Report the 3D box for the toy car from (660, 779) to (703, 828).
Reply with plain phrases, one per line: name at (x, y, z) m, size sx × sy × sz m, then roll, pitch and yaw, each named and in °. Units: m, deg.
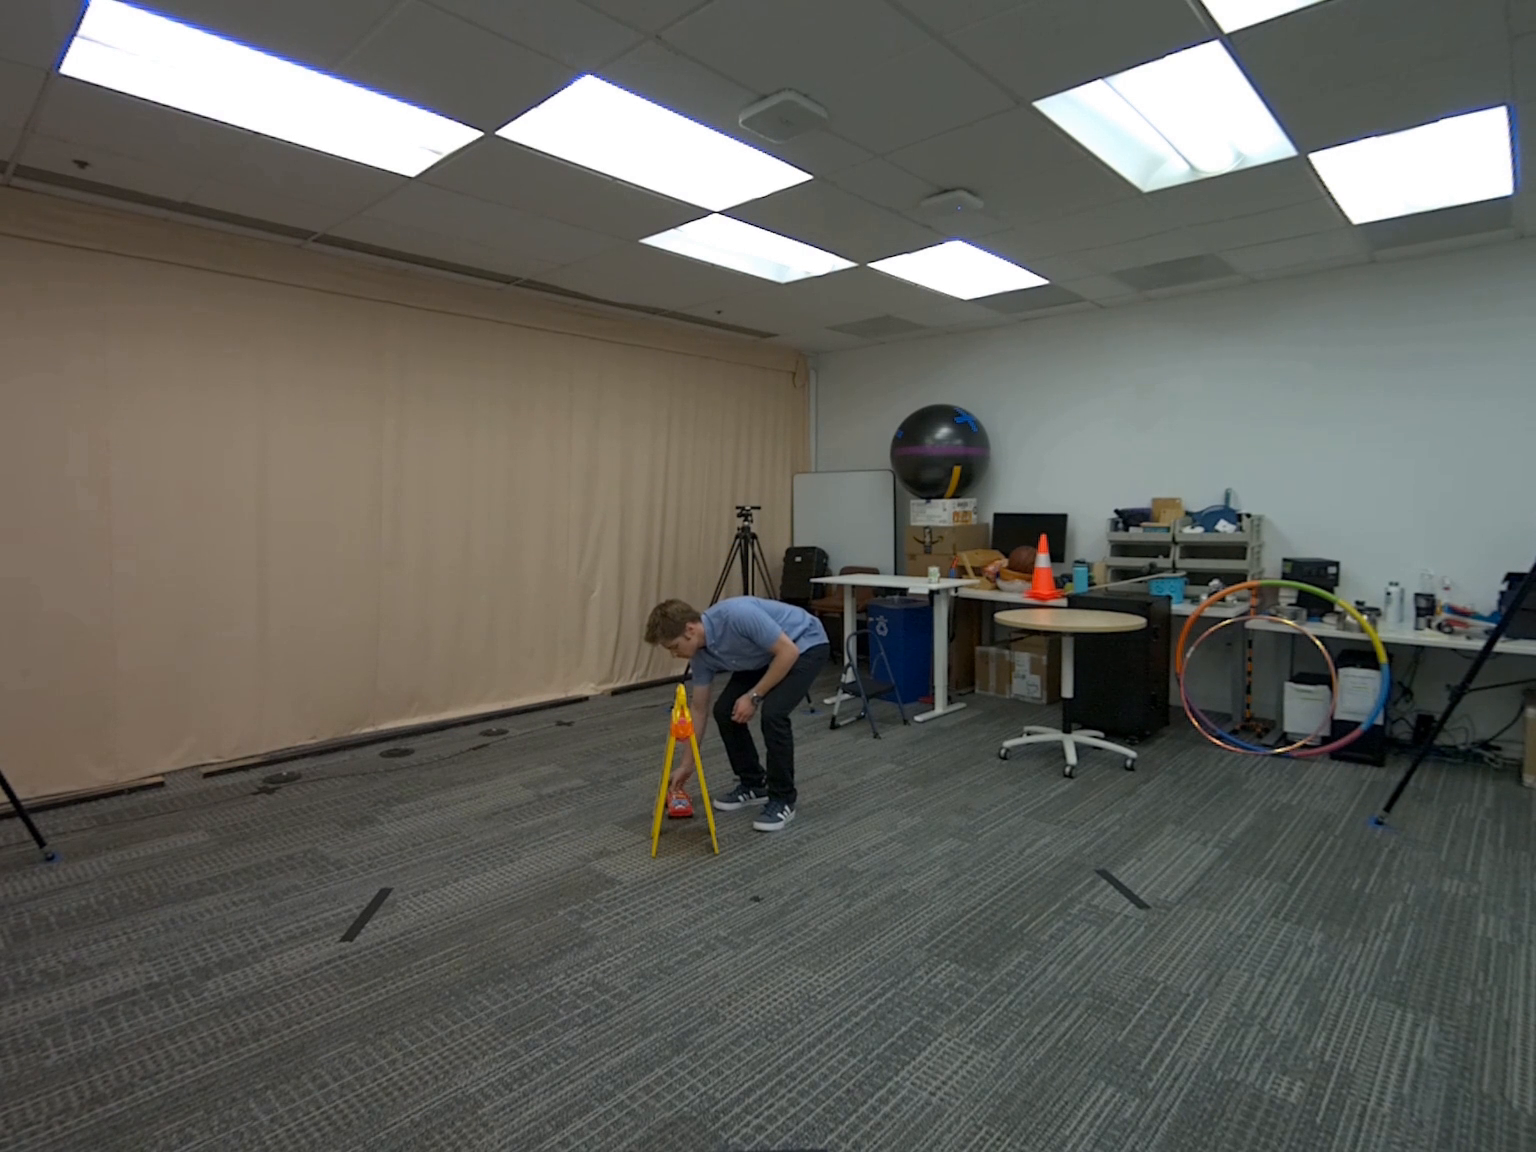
toy car at (-0.398, 1.031, 3.860) m, size 0.128 × 0.082 × 0.261 m, roll -8°, pitch 14°, yaw -18°
